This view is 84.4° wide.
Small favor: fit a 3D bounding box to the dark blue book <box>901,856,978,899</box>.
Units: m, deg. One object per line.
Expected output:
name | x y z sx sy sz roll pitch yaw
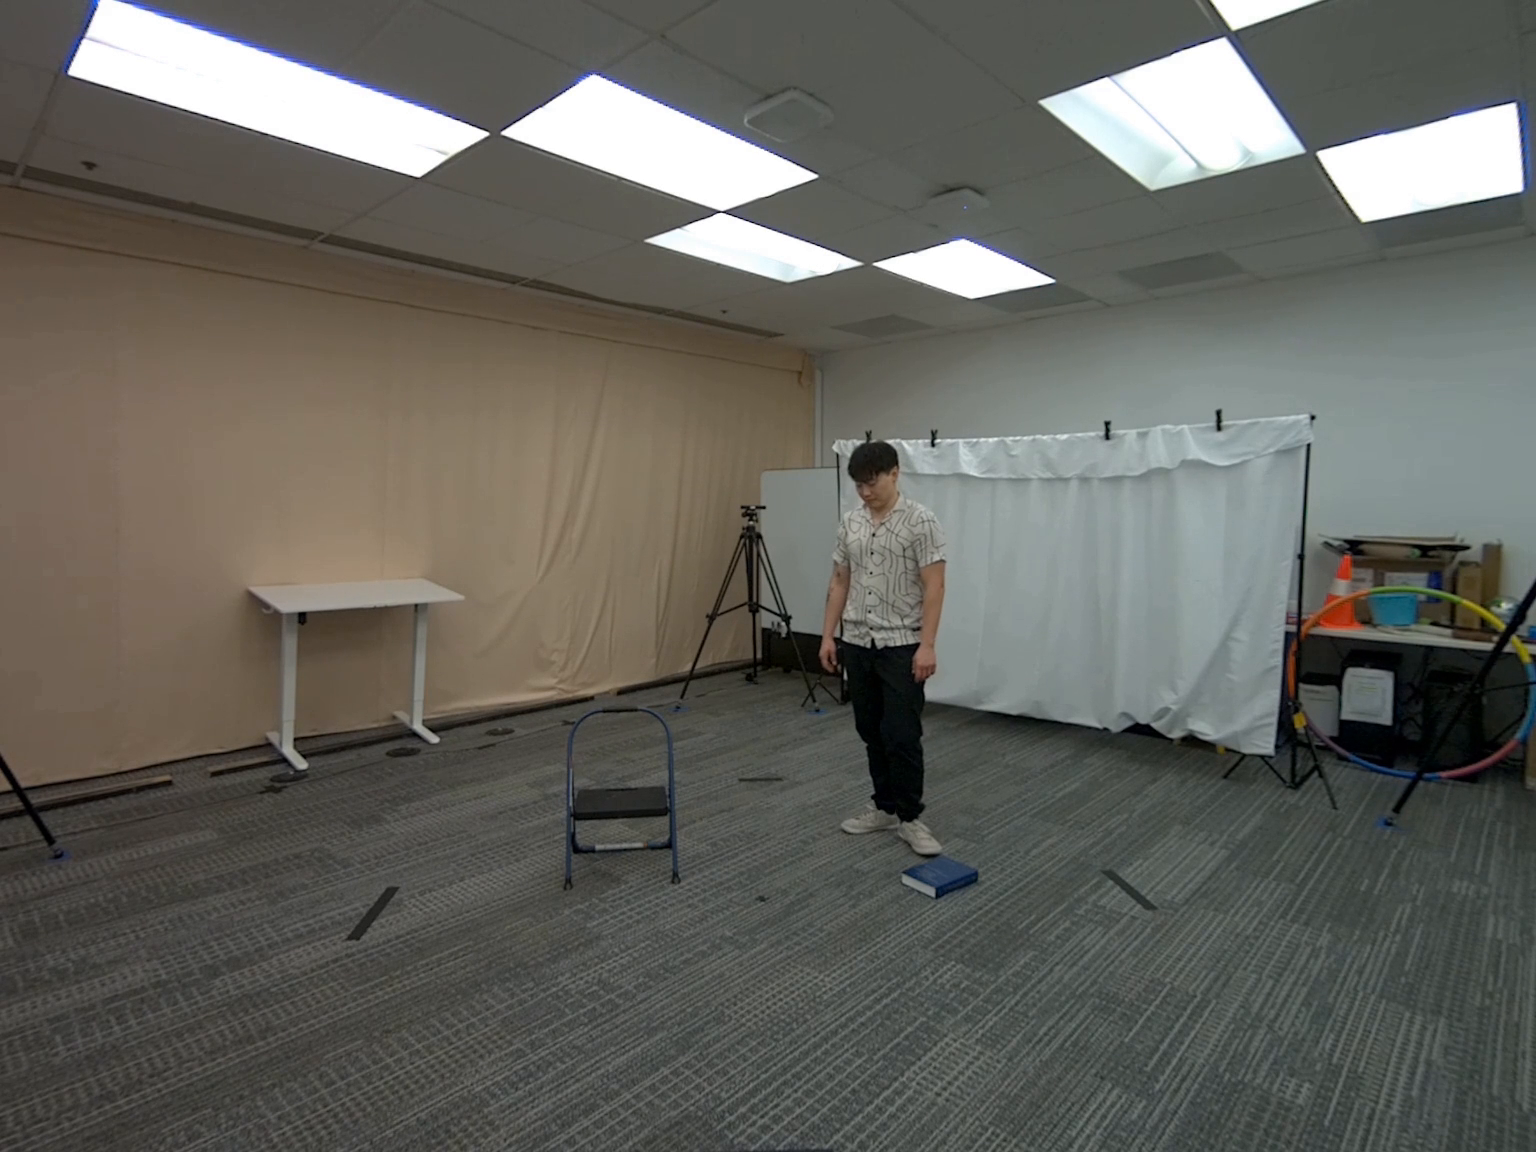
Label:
dark blue book | 0.635 1.108 3.106 0.238 0.045 0.169 -4 6 -38
